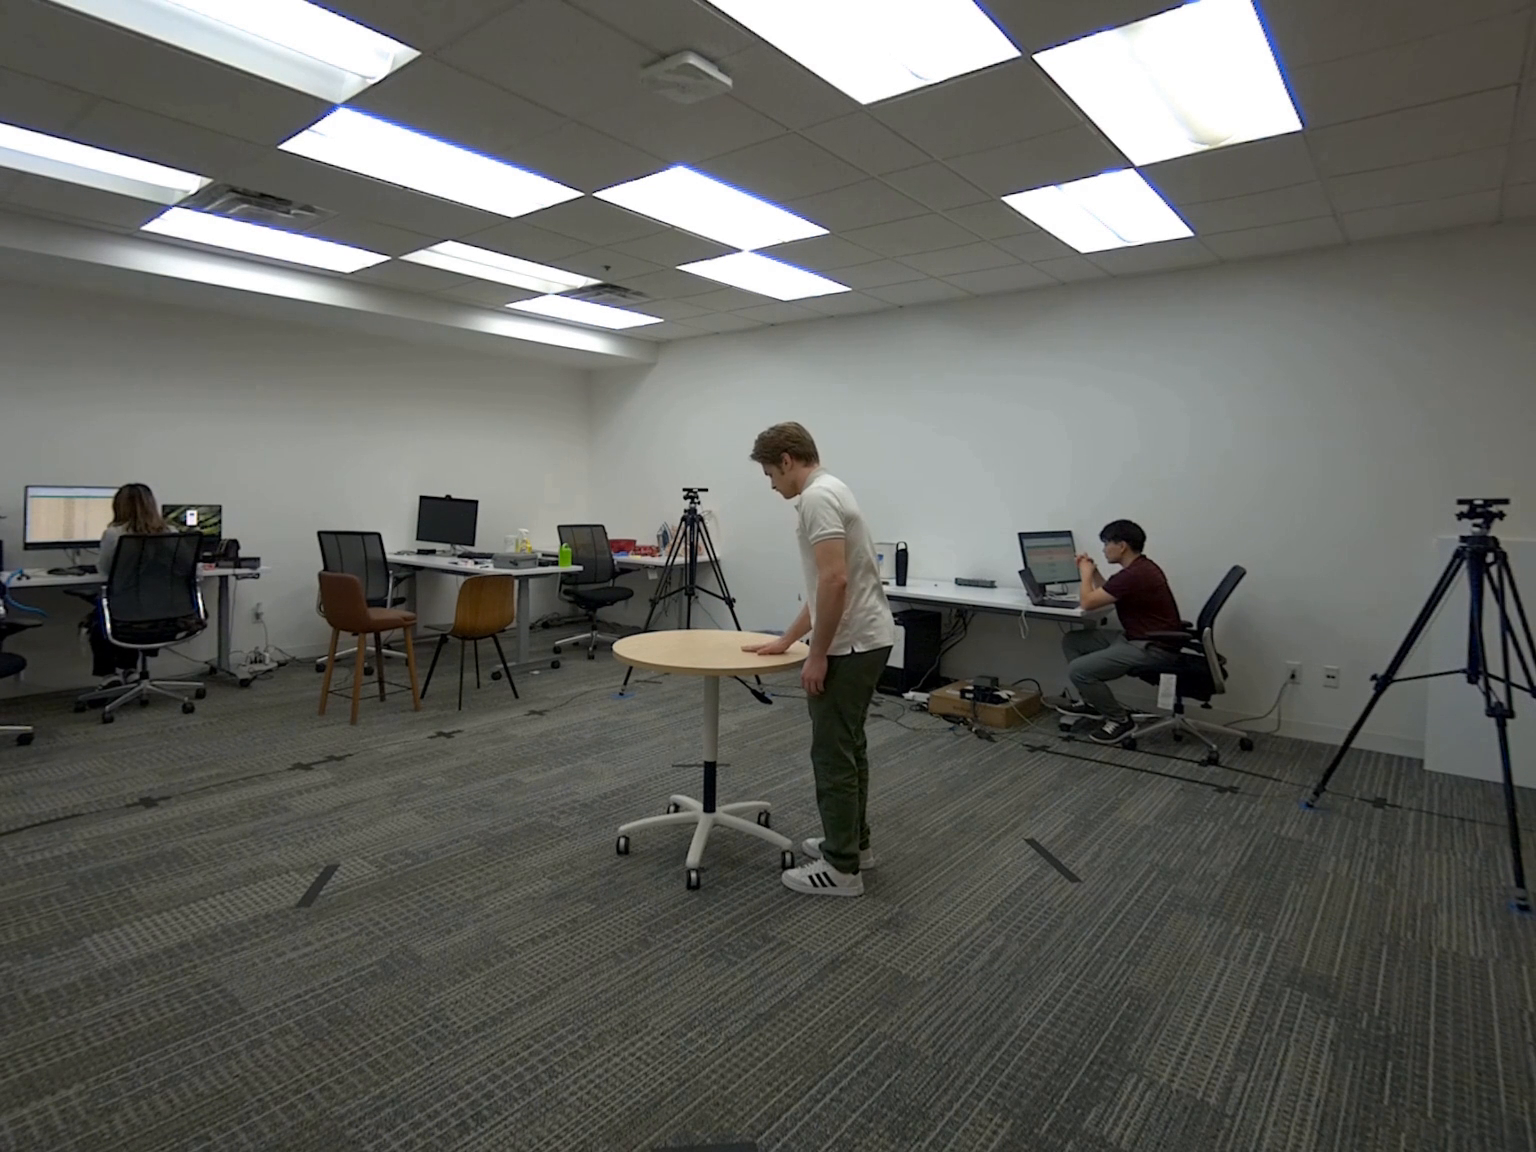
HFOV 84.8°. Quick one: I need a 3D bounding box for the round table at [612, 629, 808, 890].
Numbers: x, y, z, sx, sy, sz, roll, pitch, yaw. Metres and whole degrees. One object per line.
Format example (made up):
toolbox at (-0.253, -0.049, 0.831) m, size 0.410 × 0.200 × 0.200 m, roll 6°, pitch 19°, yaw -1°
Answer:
round table at (-0.240, 0.656, 3.304) m, size 0.784 × 0.784 × 0.789 m, roll 1°, pitch 5°, yaw -2°
